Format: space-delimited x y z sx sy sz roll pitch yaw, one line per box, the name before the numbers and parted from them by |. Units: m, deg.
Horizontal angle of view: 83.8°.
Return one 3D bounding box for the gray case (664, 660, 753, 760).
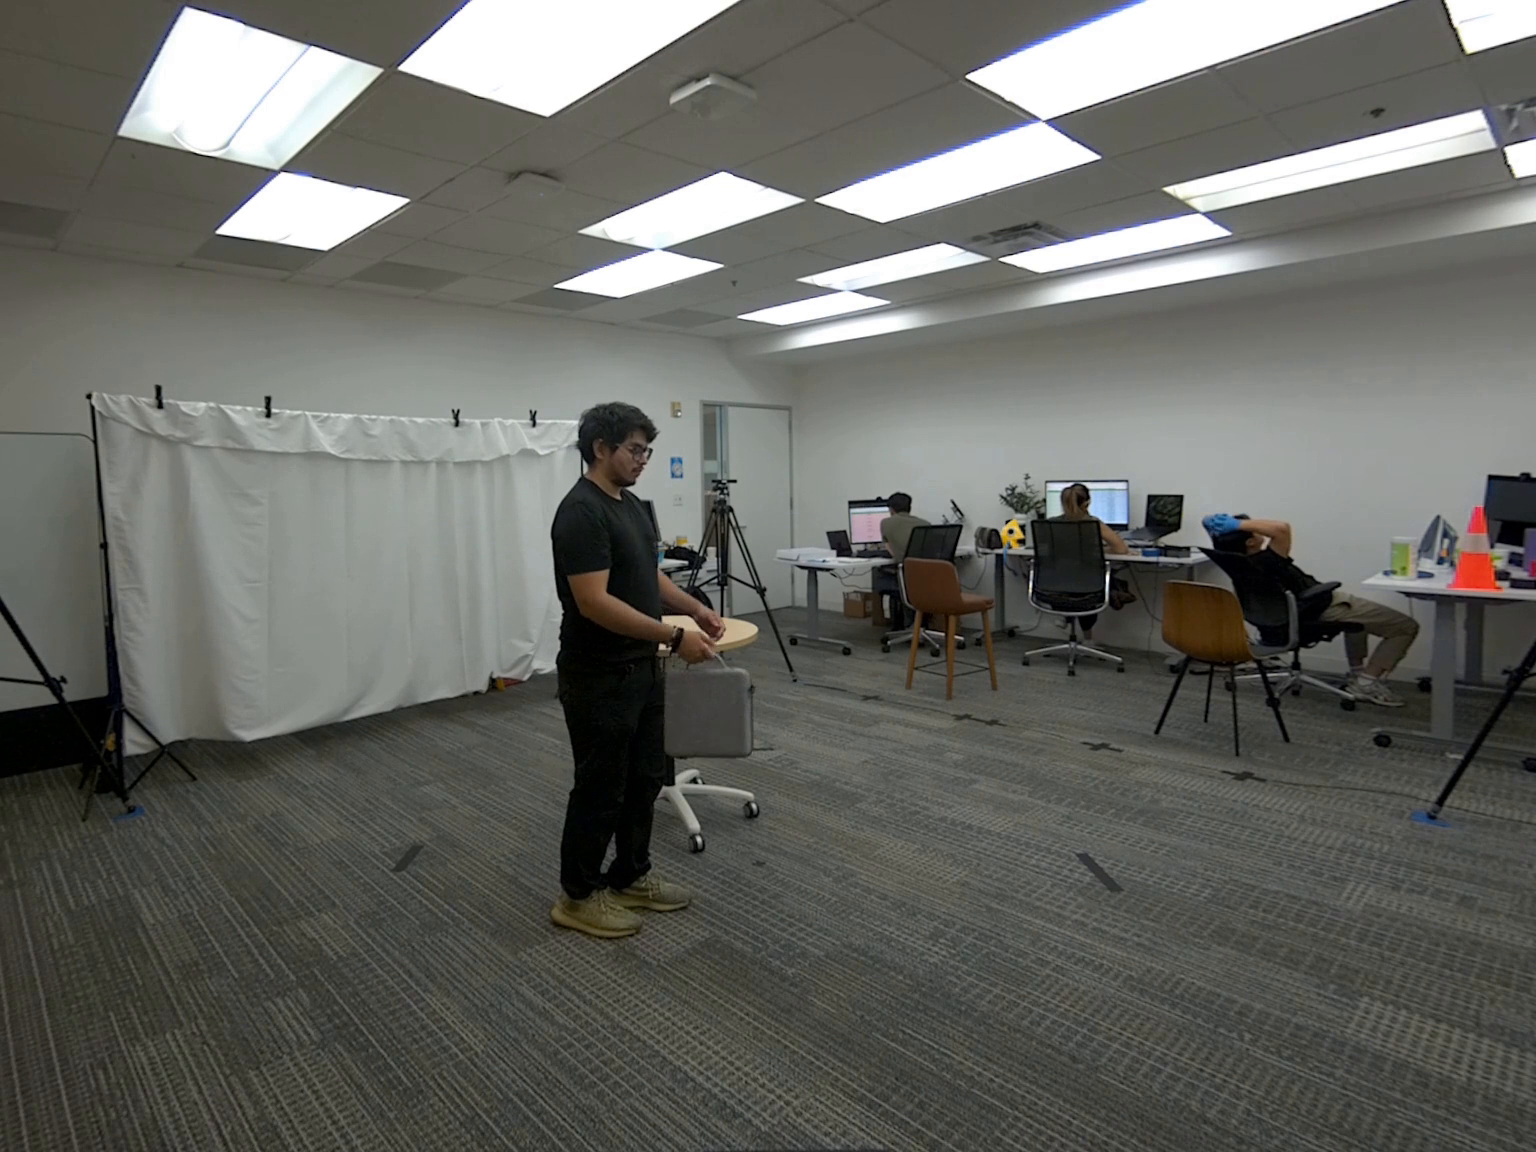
gray case | -0.168 0.393 2.490 0.259 0.262 0.103 -3 -6 10
